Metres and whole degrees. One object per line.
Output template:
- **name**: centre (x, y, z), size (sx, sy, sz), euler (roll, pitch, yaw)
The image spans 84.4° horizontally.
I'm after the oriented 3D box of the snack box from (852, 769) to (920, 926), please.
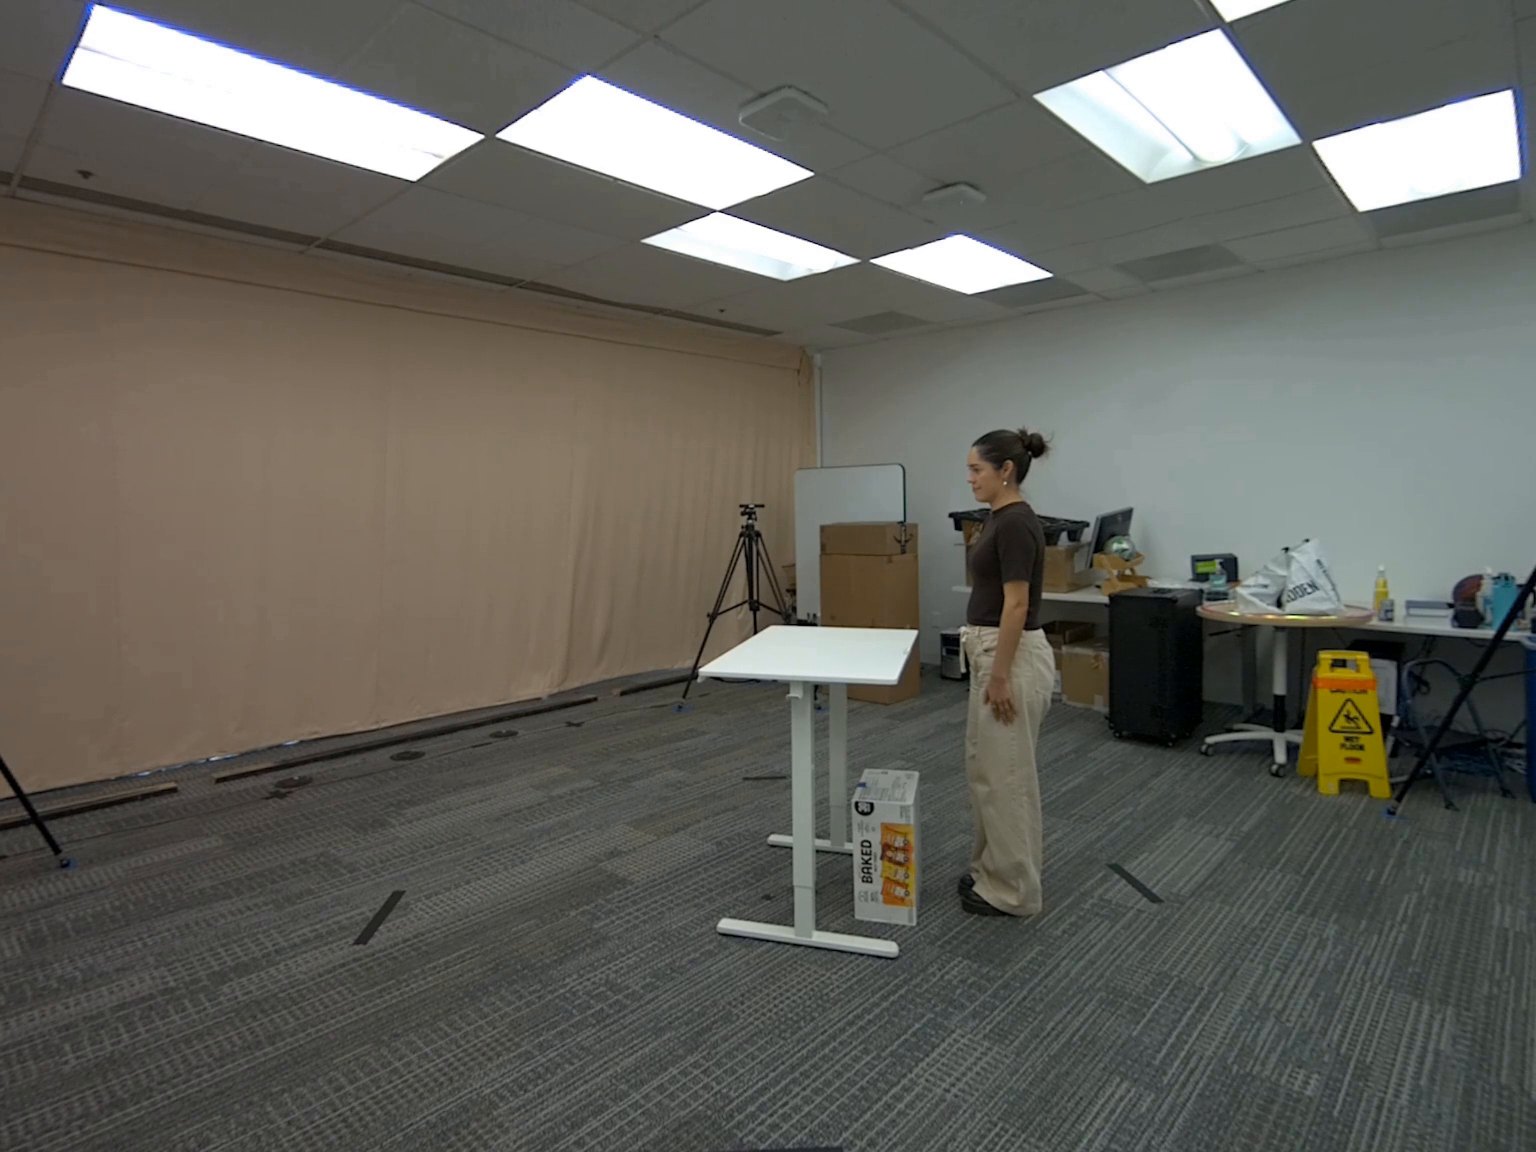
- **snack box**: centre (0.429, 0.933, 2.939), size (0.209, 0.404, 0.335), euler (-2, 3, 14)
